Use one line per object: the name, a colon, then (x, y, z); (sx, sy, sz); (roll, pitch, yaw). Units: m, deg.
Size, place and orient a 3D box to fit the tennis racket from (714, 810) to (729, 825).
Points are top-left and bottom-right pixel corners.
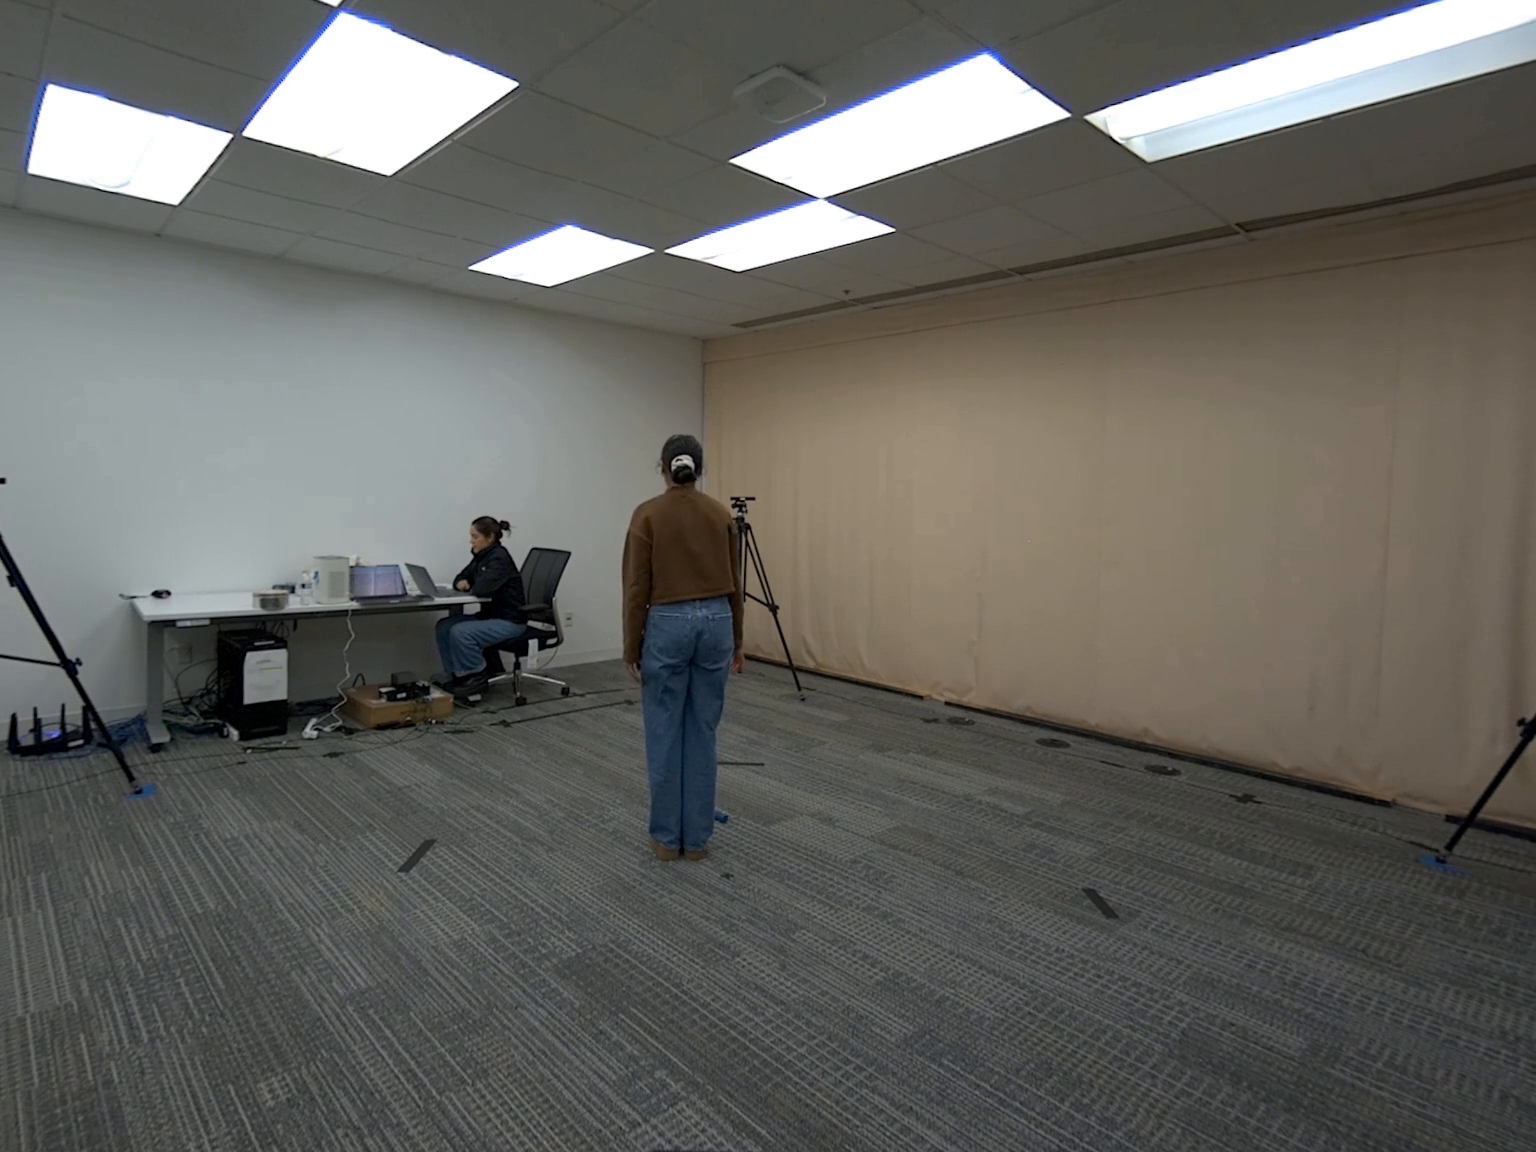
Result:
tennis racket: (-0.340, 1.034, 3.778); (0.209, 0.032, 0.444); (-3, 6, -41)
